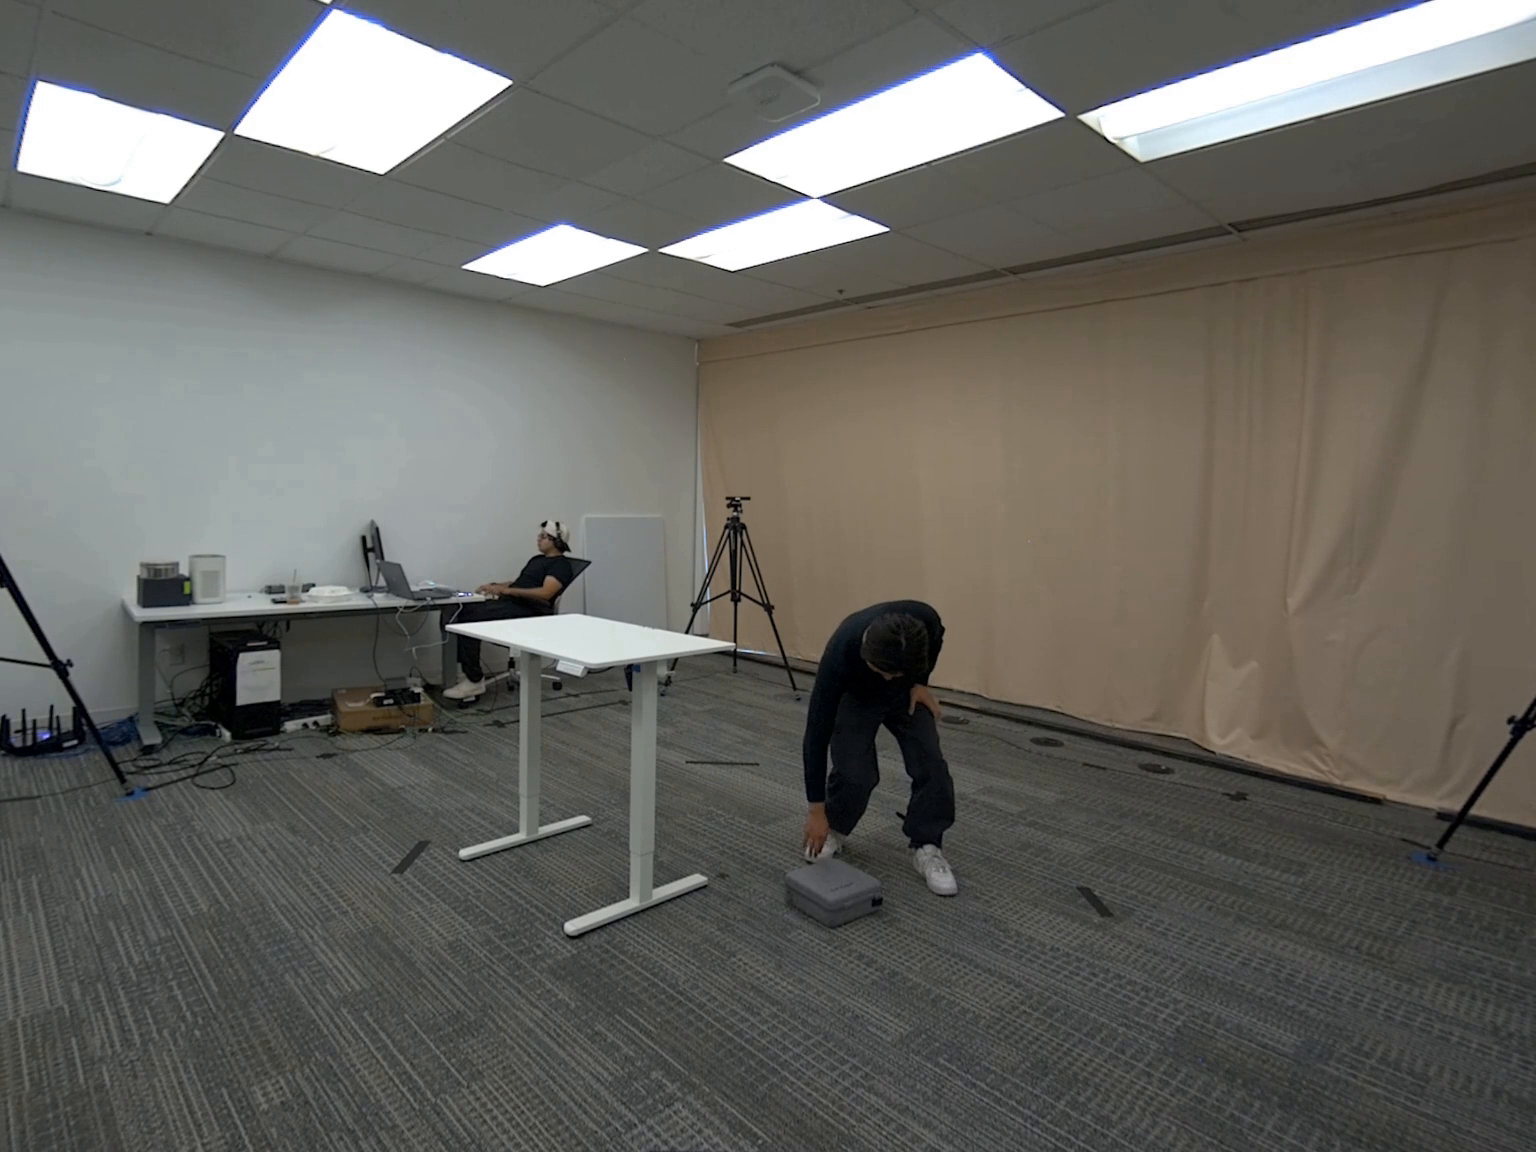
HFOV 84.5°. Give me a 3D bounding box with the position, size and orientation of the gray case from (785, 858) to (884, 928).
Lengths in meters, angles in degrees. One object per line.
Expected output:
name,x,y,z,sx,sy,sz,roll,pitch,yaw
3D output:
gray case,0.212,1.074,2.889,0.251,0.104,0.267,-5,7,-39
